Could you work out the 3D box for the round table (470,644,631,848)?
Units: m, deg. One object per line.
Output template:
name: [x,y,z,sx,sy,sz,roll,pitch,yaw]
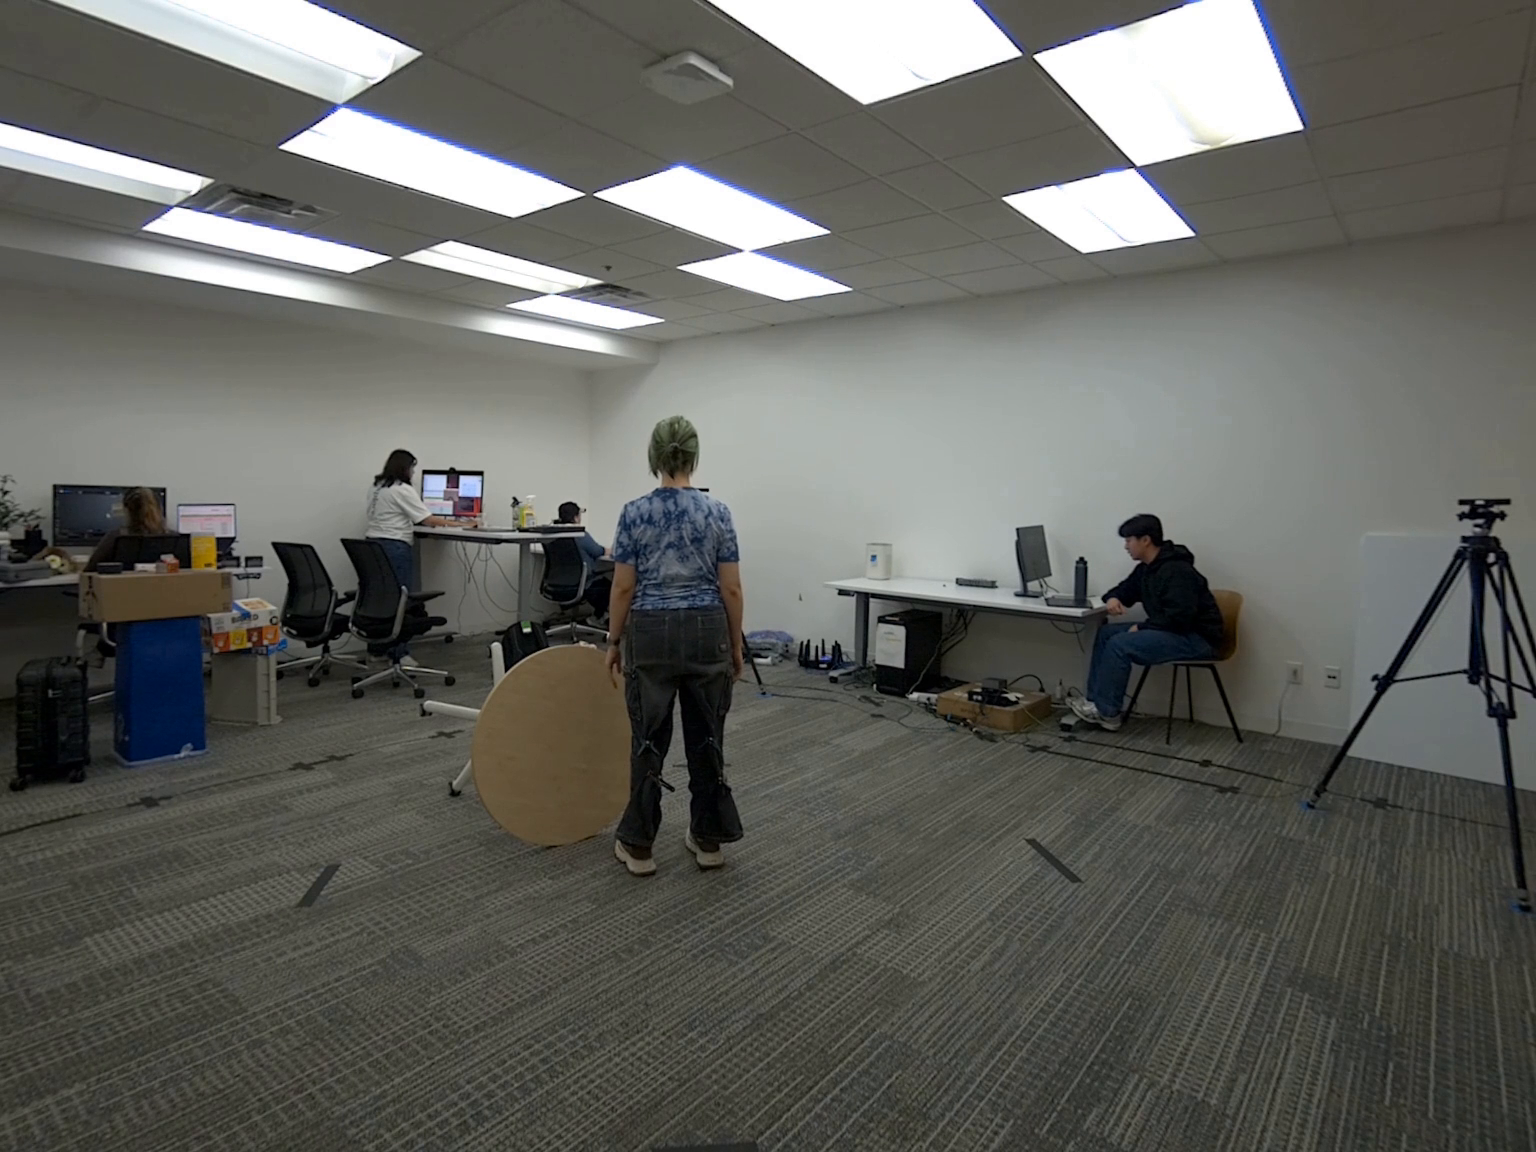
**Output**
round table: [-1.052,0.664,3.655,0.741,0.765,0.817,-2,-1,-38]
